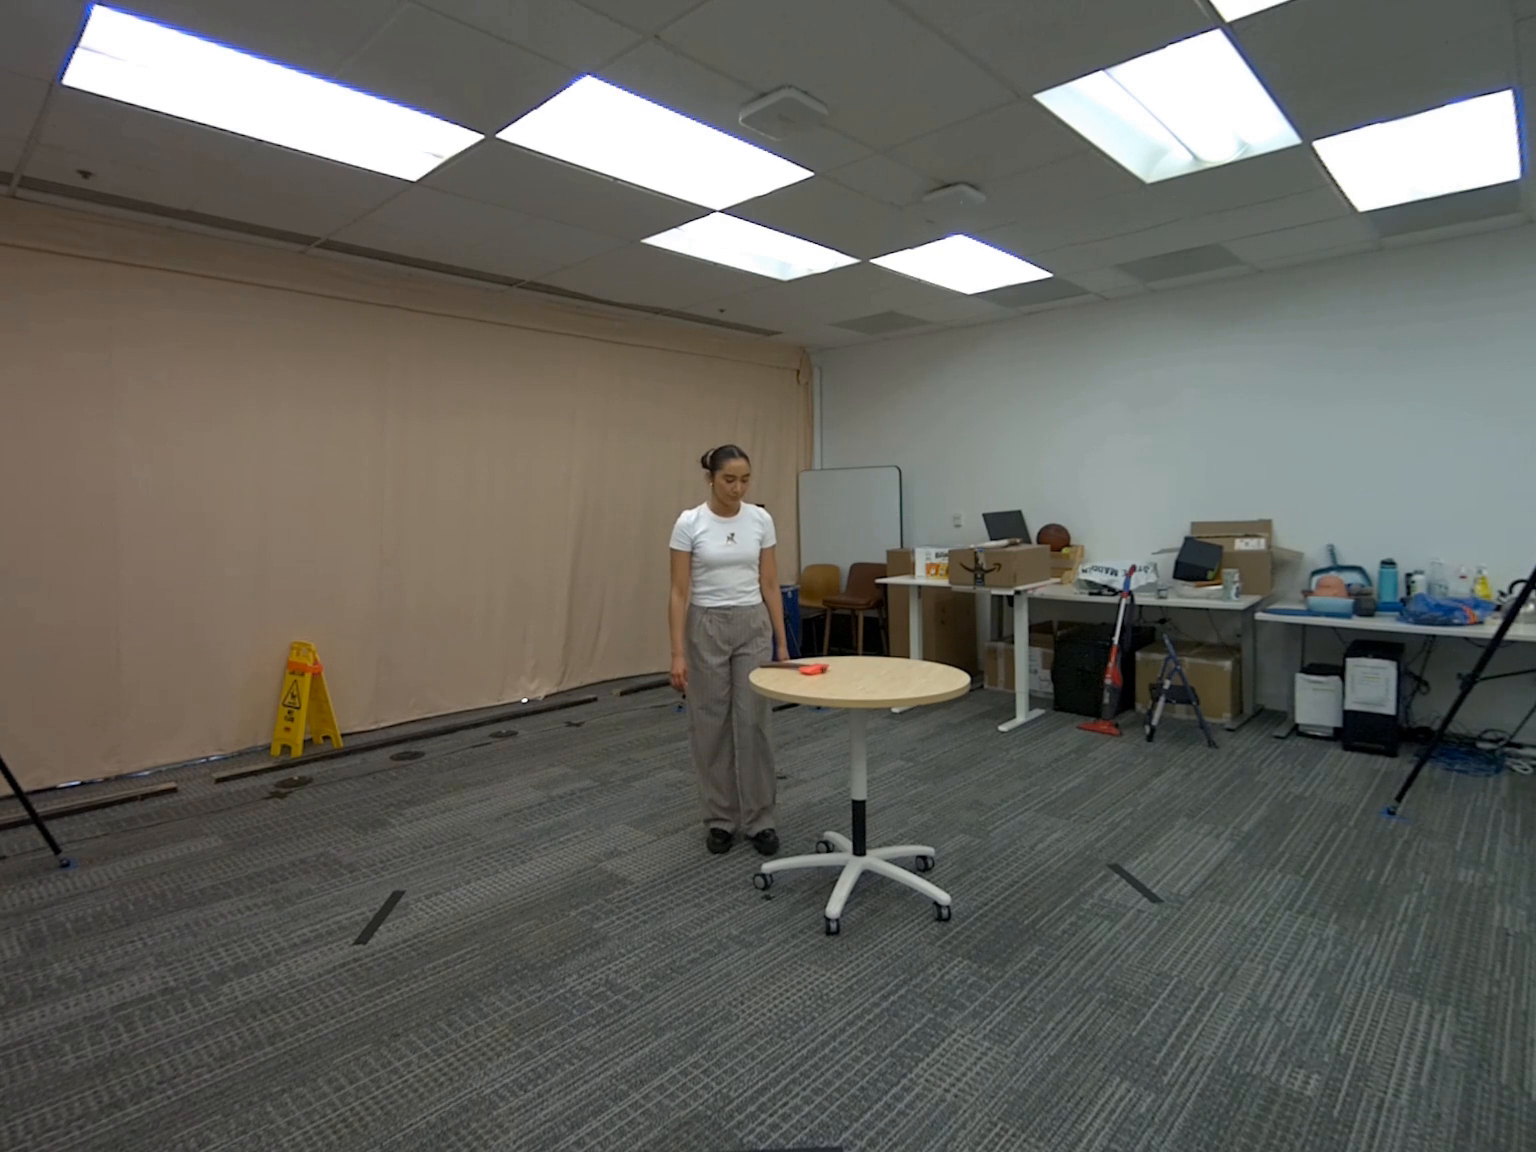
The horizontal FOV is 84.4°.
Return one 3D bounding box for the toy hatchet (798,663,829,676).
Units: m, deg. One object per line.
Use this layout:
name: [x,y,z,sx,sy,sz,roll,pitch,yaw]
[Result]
toy hatchet: [0.087,0.339,3.069,0.276,0.029,0.129,-1,9,21]
